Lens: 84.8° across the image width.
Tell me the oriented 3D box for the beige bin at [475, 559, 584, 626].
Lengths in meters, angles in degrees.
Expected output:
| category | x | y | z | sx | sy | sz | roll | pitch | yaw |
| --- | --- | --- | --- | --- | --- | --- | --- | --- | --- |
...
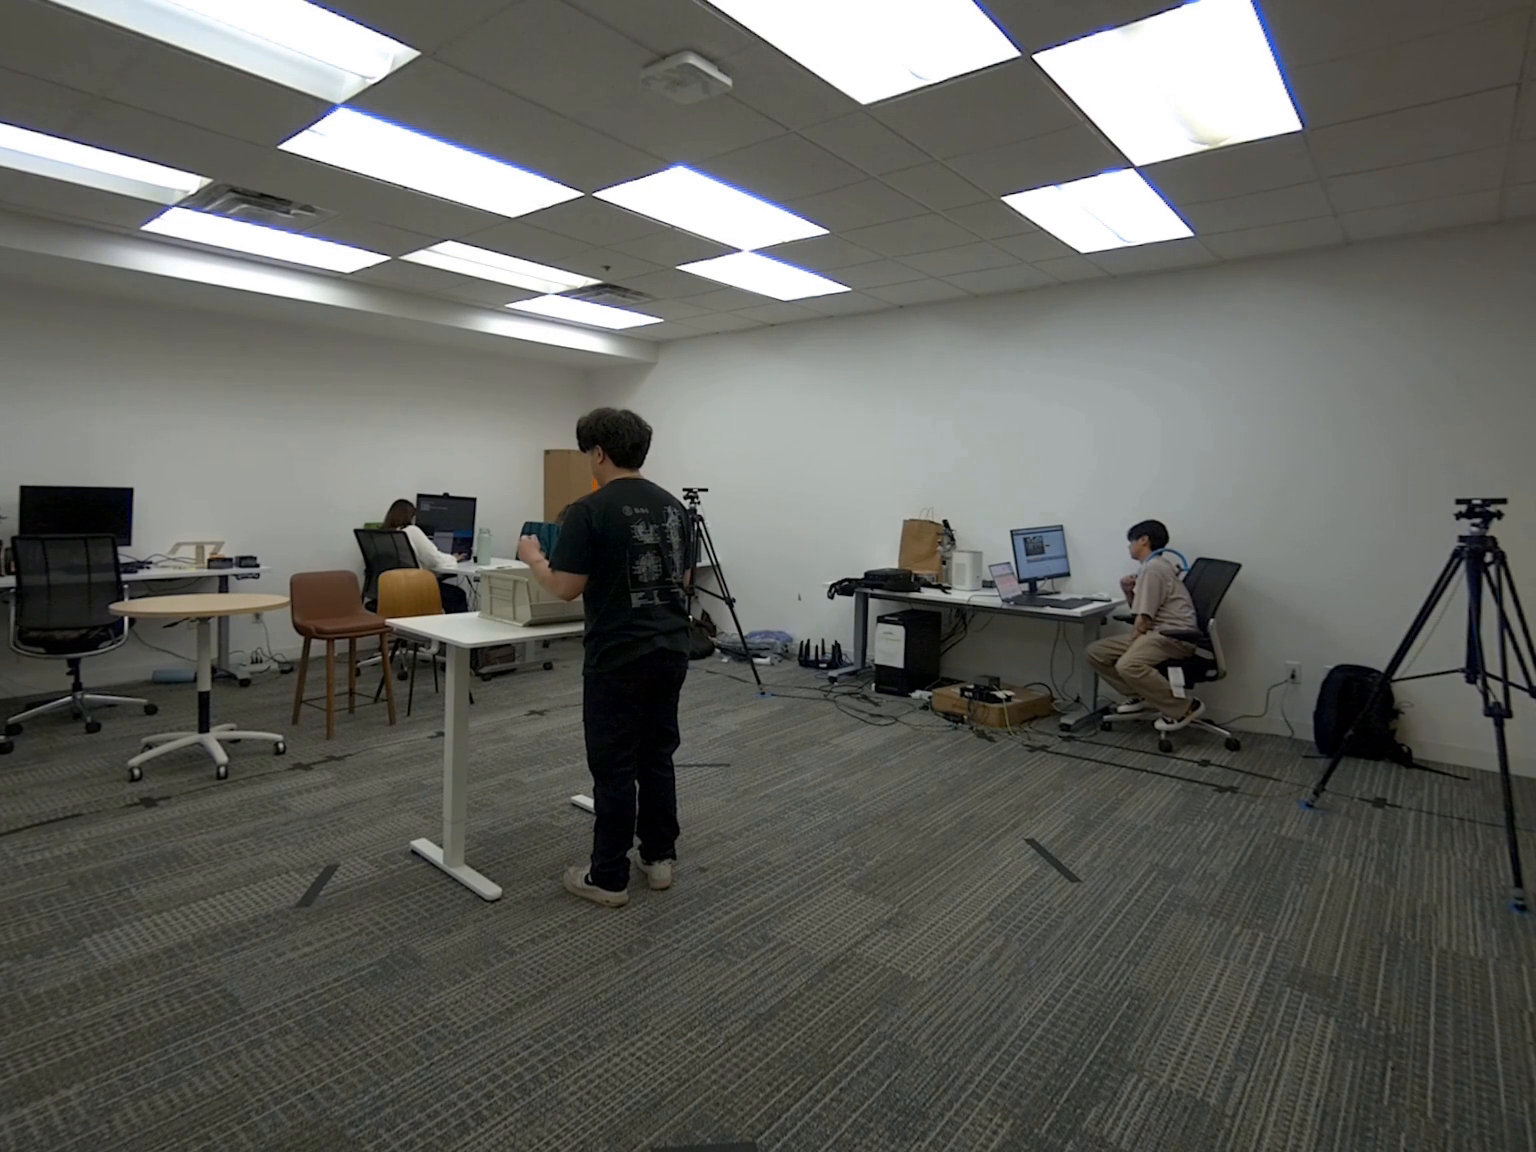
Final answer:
| category | x | y | z | sx | sy | sz | roll | pitch | yaw |
| --- | --- | --- | --- | --- | --- | --- | --- | --- | --- |
| beige bin | -0.849 | 0.074 | 3.277 | 0.390 | 0.188 | 0.409 | 5 | 6 | 44 |
